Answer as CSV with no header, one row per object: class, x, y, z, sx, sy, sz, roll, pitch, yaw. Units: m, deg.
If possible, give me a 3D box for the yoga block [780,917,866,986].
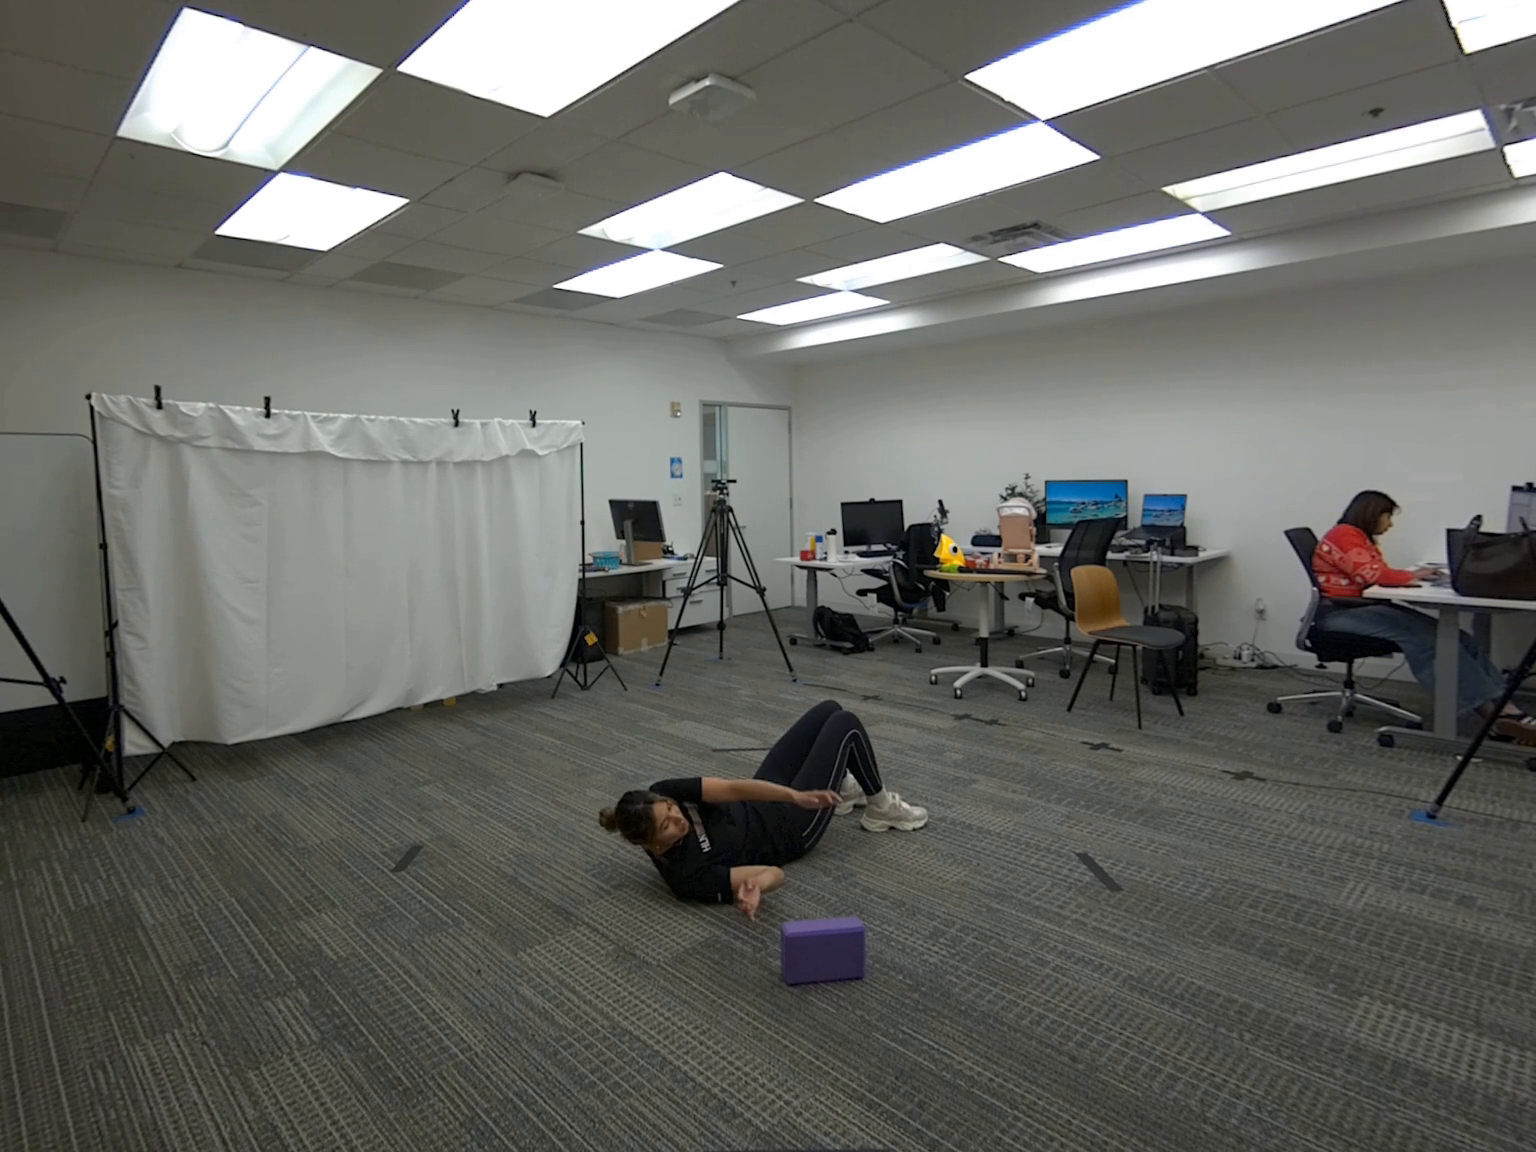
yoga block,0.158,1.051,2.398,0.227,0.148,0.077,-2,6,-9
